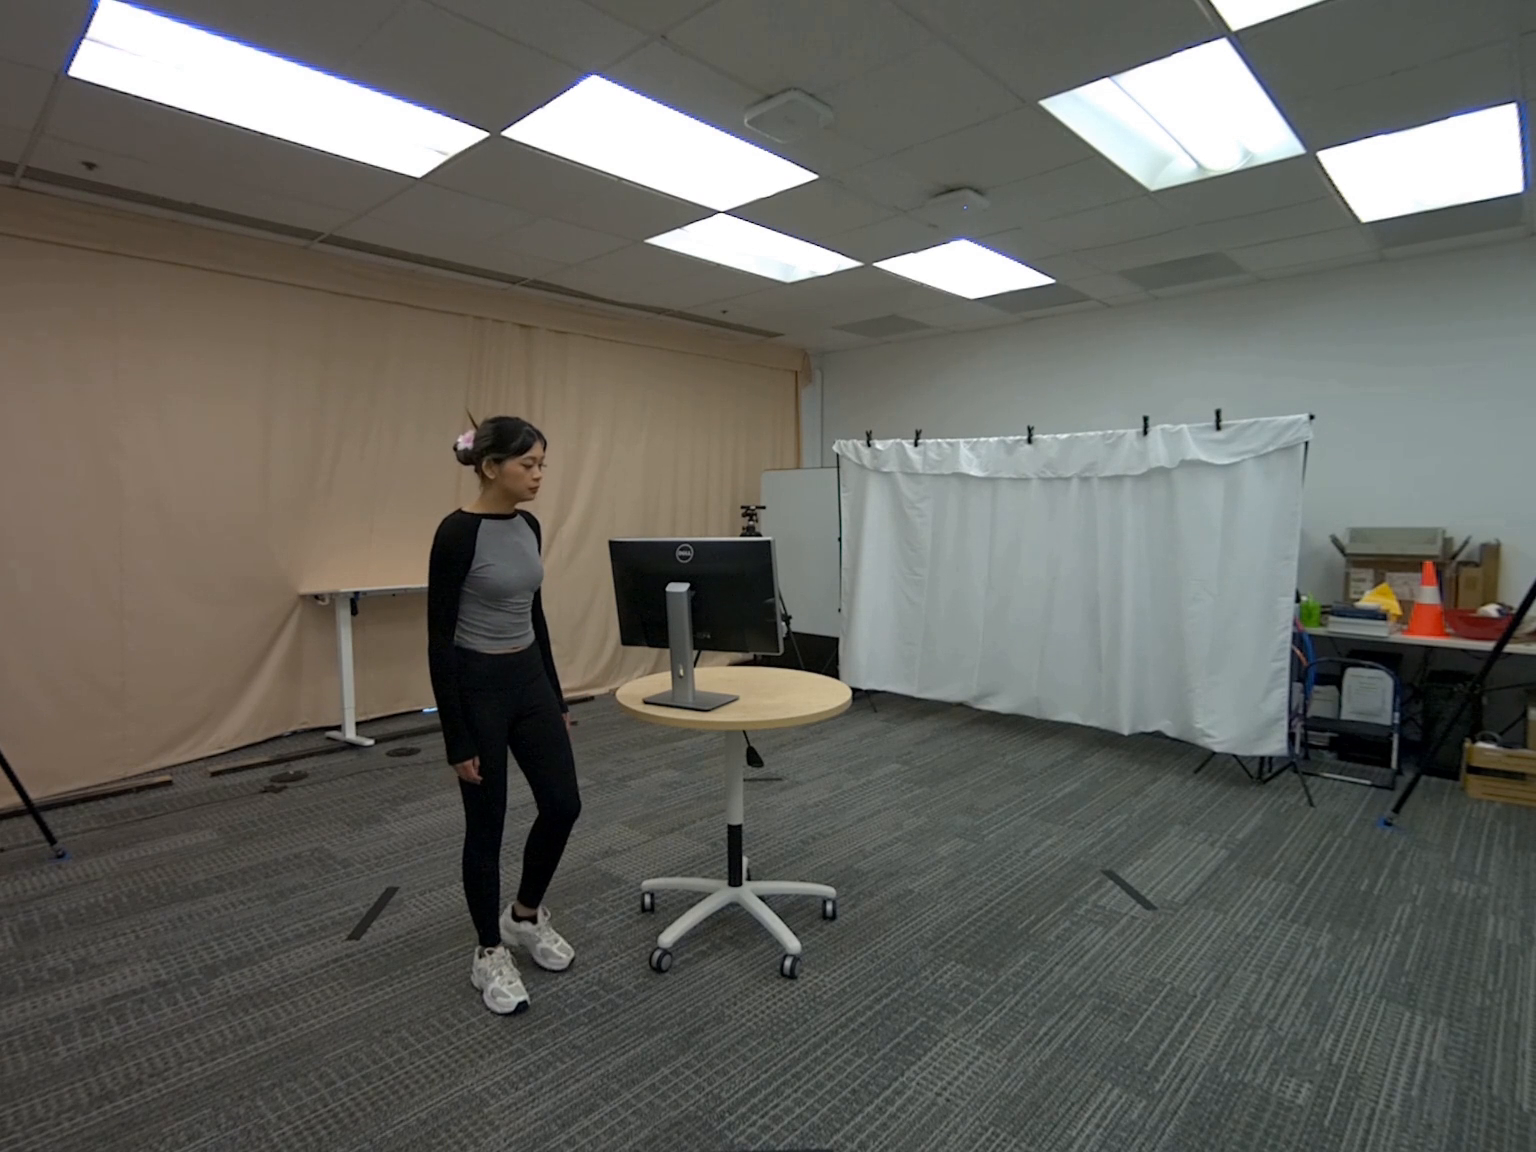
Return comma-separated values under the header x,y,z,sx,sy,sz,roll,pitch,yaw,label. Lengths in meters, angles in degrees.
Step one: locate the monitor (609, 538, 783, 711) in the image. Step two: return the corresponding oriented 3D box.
x,y,z,sx,sy,sz,roll,pitch,yaw,label
-0.244,0.147,2.595,0.551,0.522,0.183,0,1,22,monitor
